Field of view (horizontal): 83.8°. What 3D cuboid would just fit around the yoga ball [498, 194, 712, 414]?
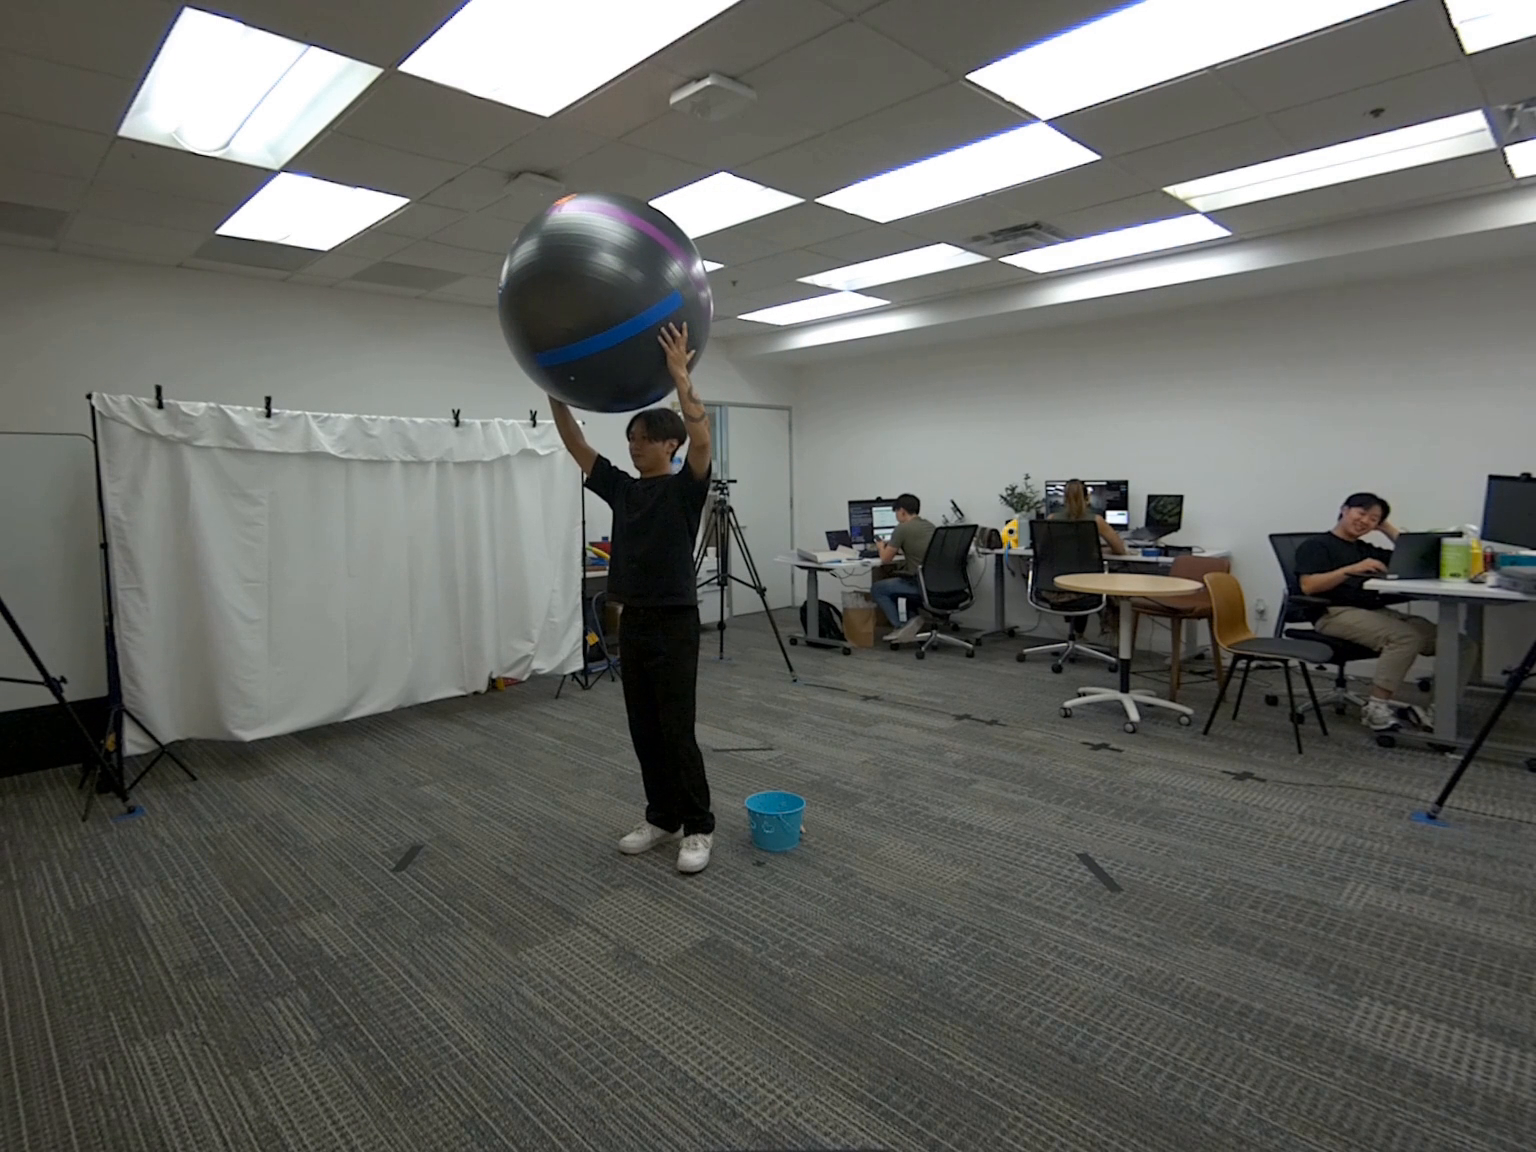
[{"bbox_3d":[-0.578,-0.962,3.057,0.757,0.755,0.762,-1,5,-2],"label":"yoga ball"}]
